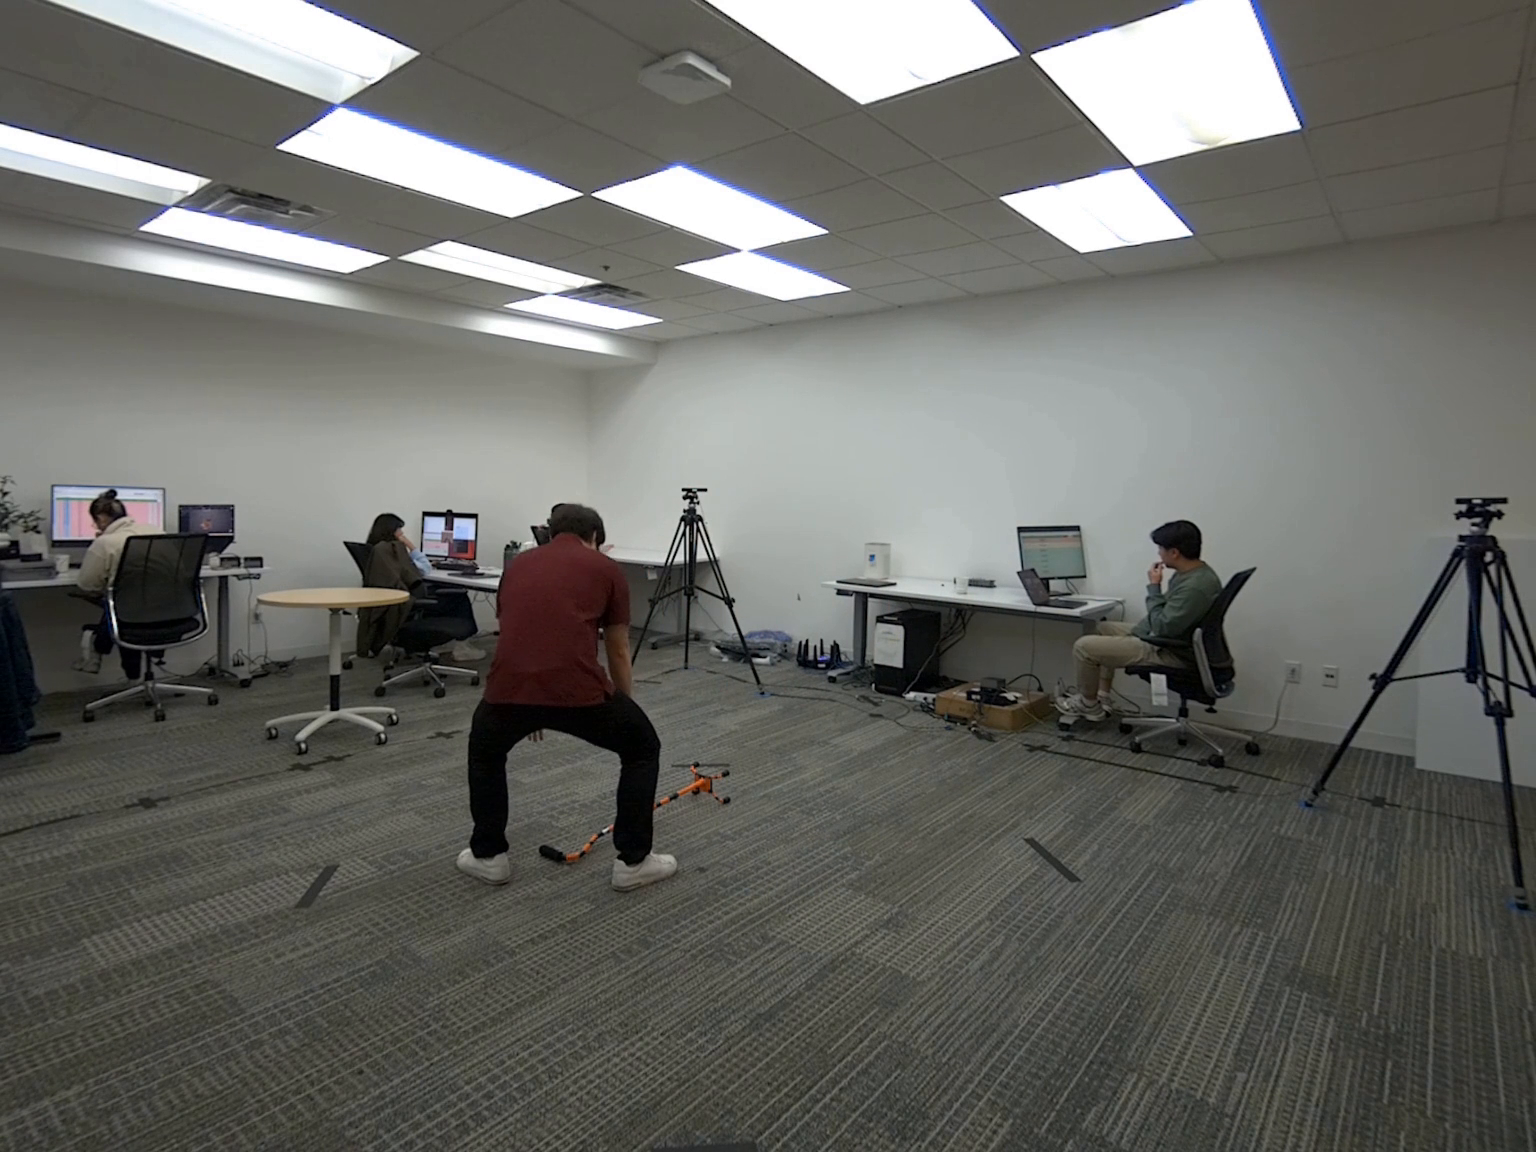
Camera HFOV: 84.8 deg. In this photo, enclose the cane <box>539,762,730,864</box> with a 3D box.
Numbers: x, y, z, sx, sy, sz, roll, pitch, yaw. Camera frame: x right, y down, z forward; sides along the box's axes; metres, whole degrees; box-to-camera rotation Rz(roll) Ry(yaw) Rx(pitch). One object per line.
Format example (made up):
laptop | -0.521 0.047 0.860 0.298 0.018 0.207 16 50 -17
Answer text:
cane | -0.530 0.984 3.490 0.213 0.150 0.885 3 10 38
